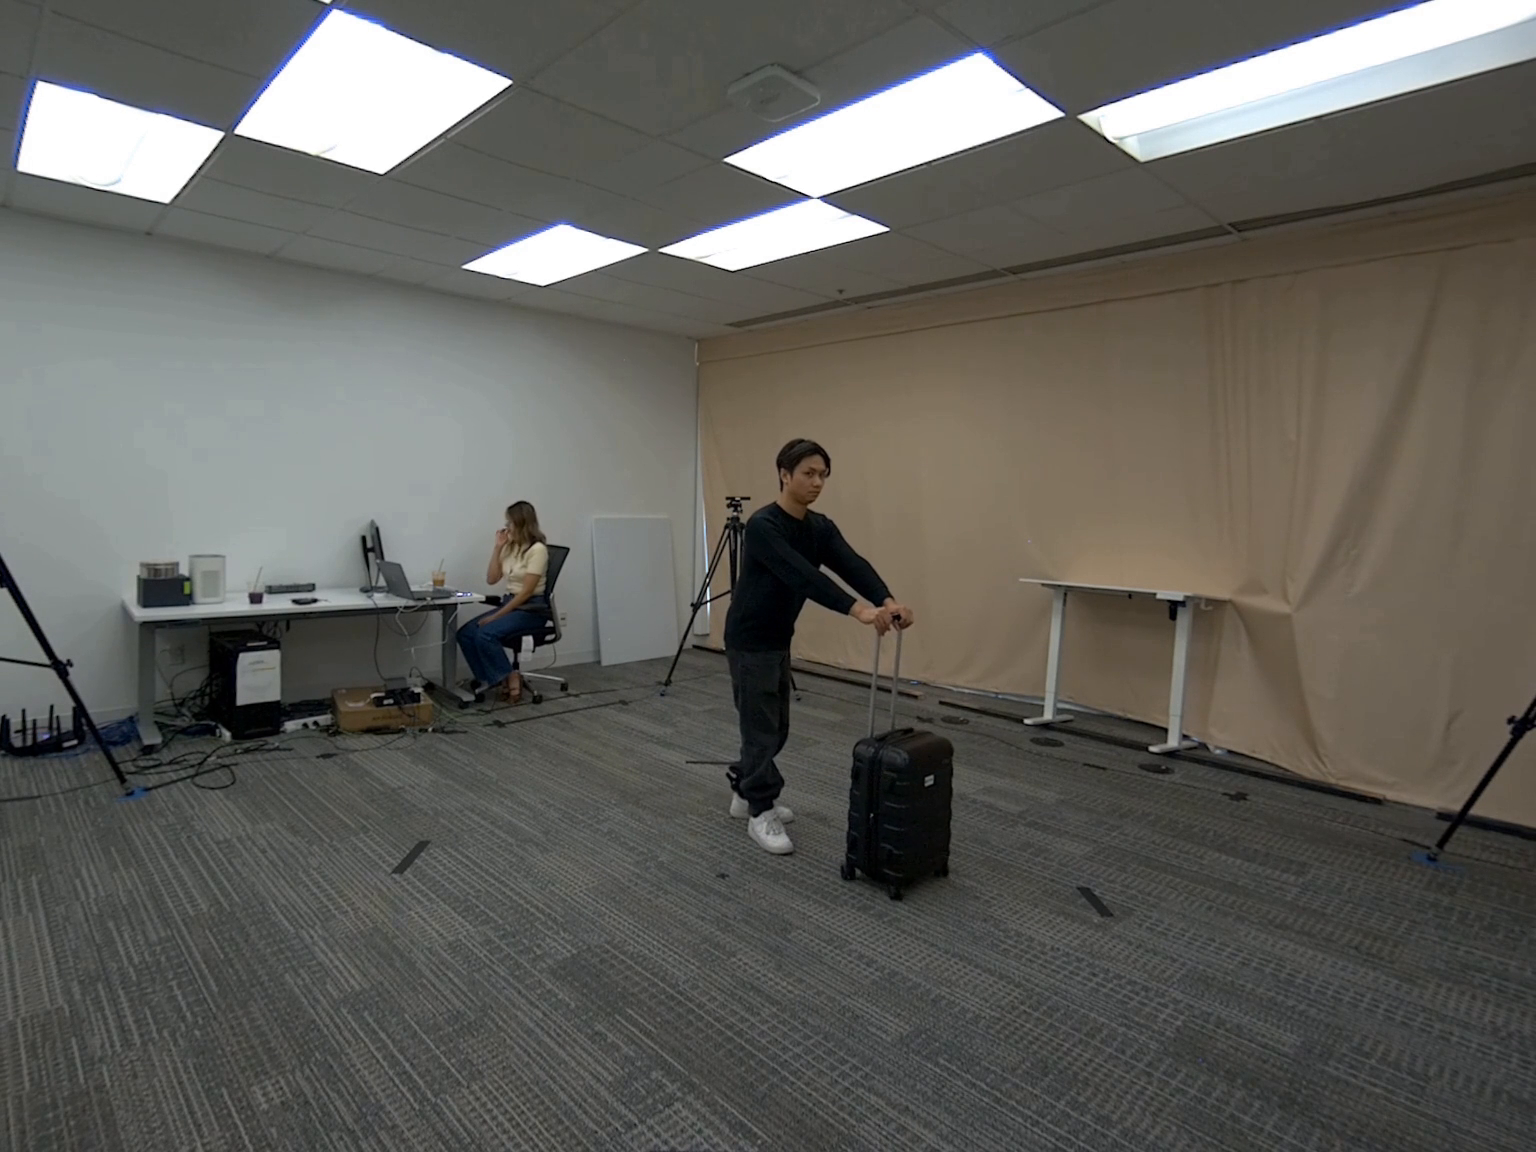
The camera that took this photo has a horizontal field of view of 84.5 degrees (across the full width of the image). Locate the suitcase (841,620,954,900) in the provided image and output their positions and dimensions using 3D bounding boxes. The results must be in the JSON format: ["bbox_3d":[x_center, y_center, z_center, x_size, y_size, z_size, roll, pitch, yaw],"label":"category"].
[{"bbox_3d":[0.491,0.649,3.066,0.375,0.974,0.264,-2,8,-43],"label":"suitcase"}]
